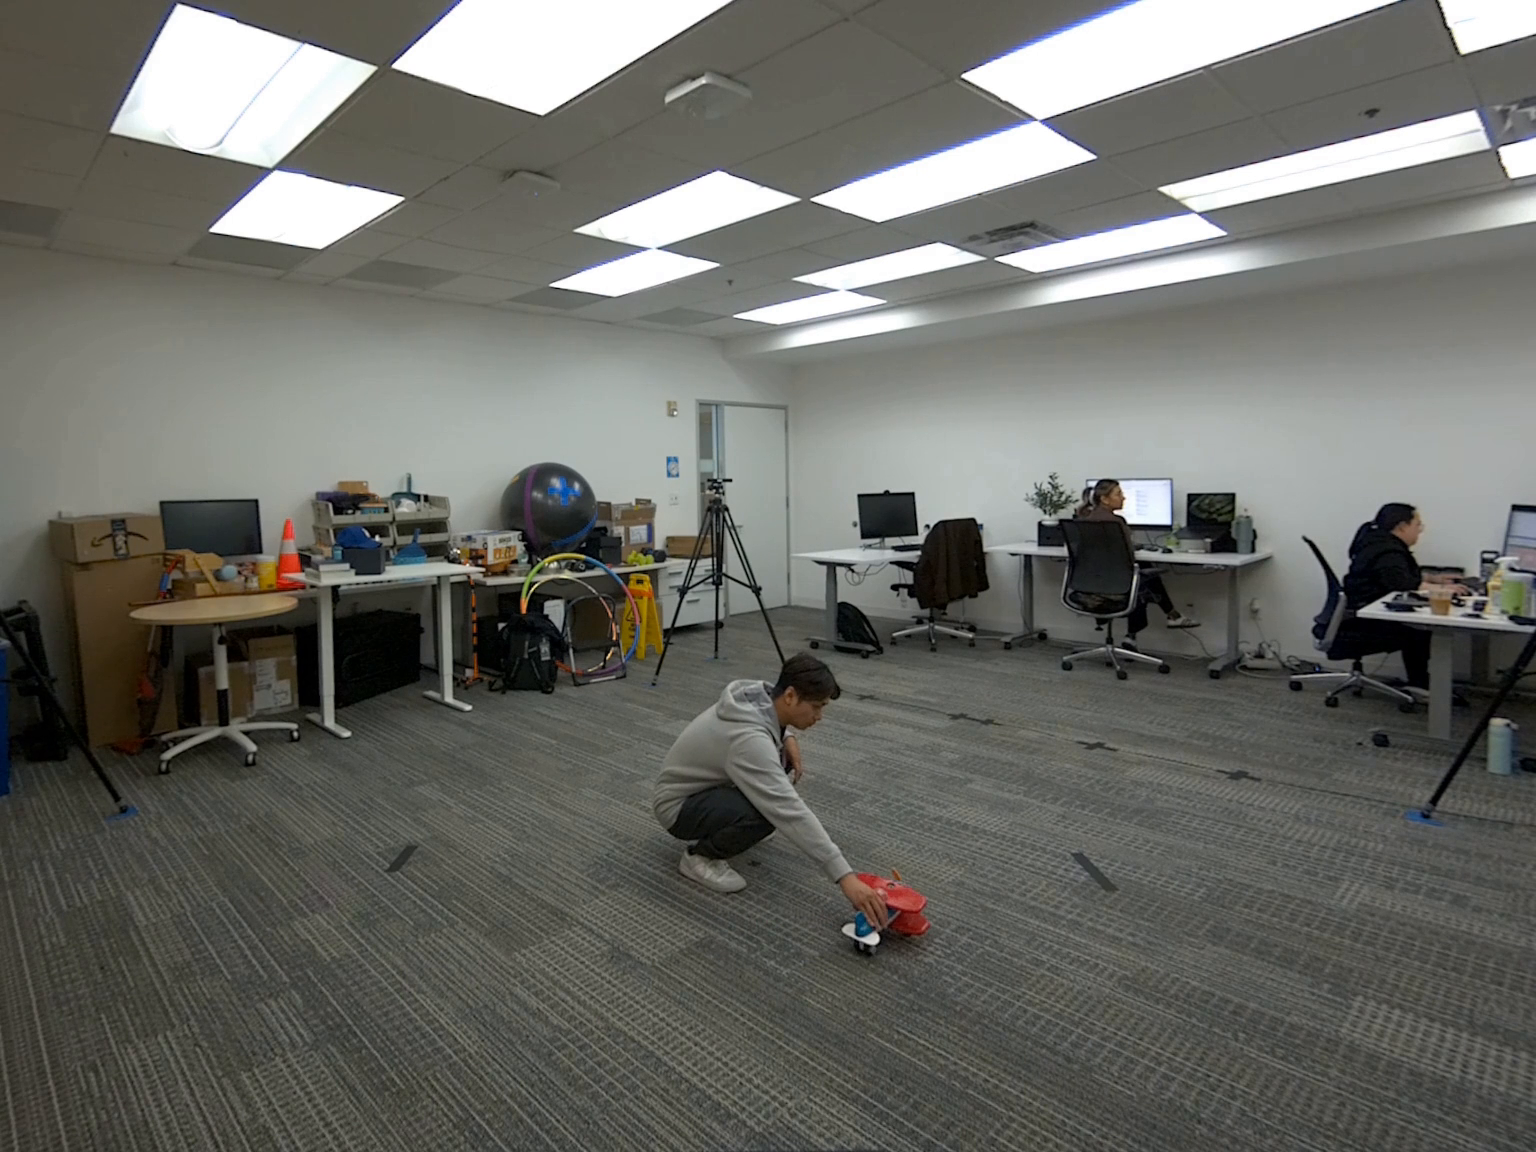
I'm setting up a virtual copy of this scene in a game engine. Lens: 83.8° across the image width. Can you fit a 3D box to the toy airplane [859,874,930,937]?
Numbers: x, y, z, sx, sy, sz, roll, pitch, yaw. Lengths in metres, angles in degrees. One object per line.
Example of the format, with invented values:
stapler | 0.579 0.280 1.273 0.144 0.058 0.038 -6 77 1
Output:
toy airplane | 0.365 1.027 2.568 0.255 0.156 0.256 2 4 15
